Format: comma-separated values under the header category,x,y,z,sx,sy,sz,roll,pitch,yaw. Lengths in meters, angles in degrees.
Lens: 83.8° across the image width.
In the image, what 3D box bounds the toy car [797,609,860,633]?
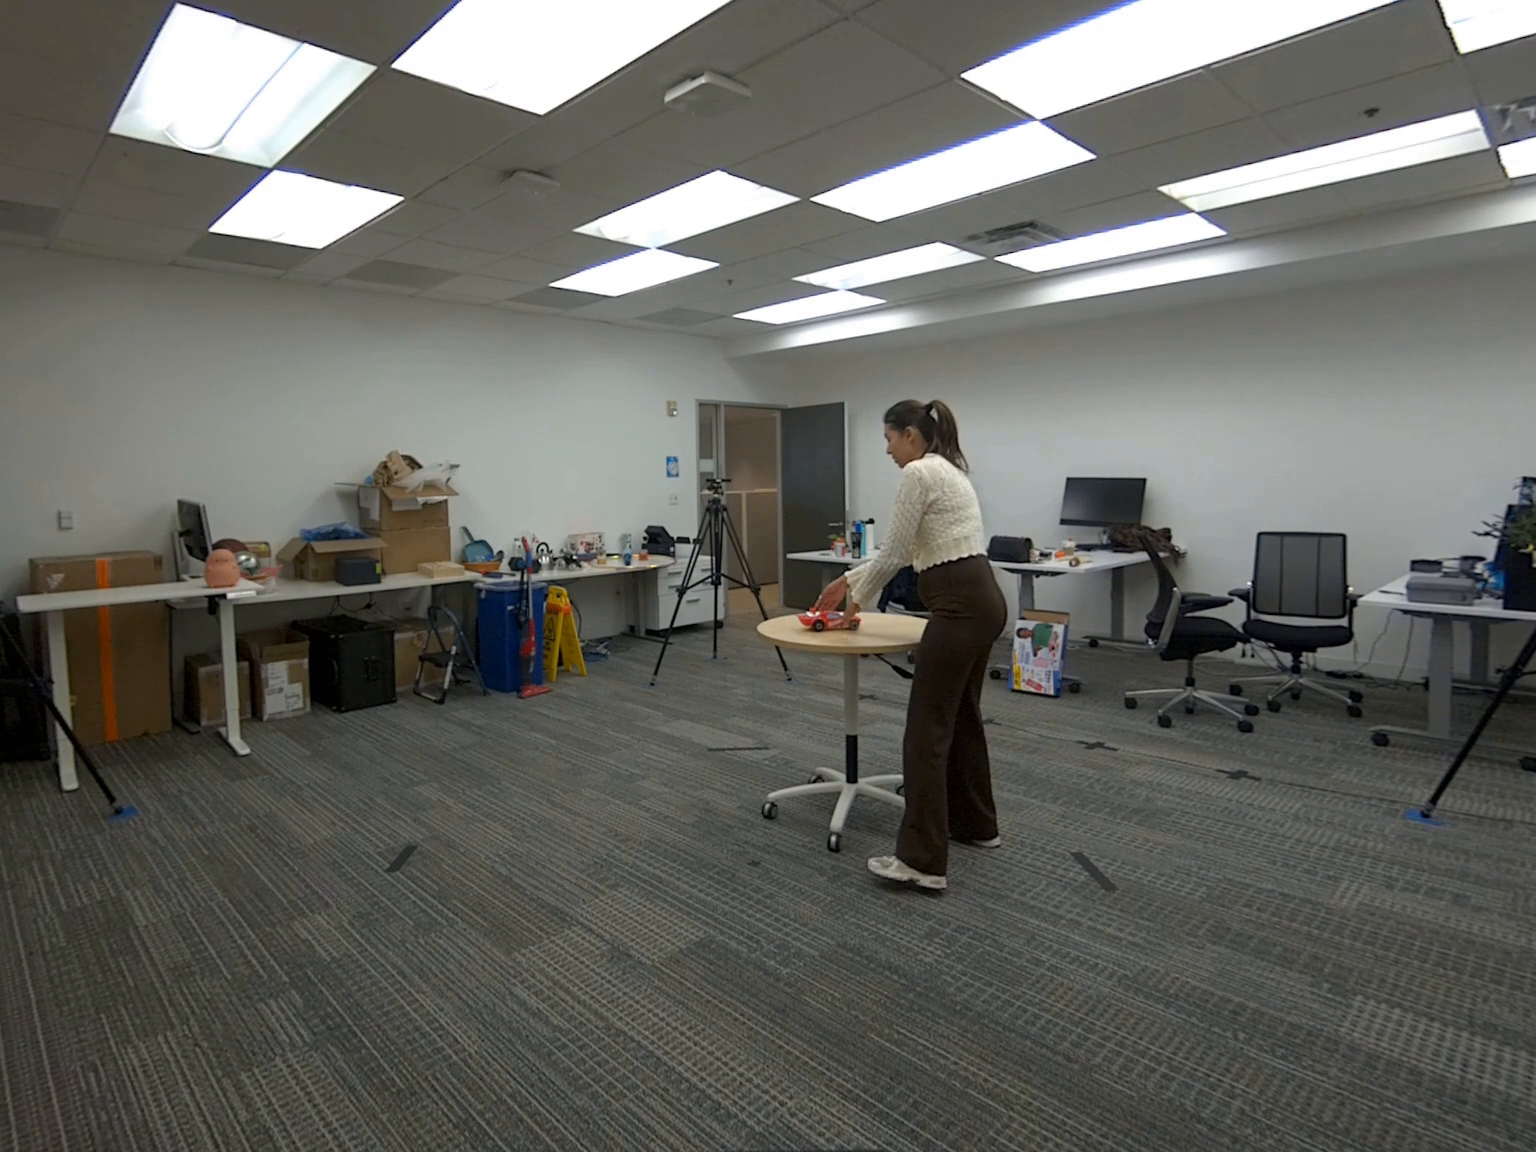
category,x,y,z,sx,sy,sz,roll,pitch,yaw
toy car,0.247,0.183,3.455,0.252,0.083,0.132,9,5,-10
